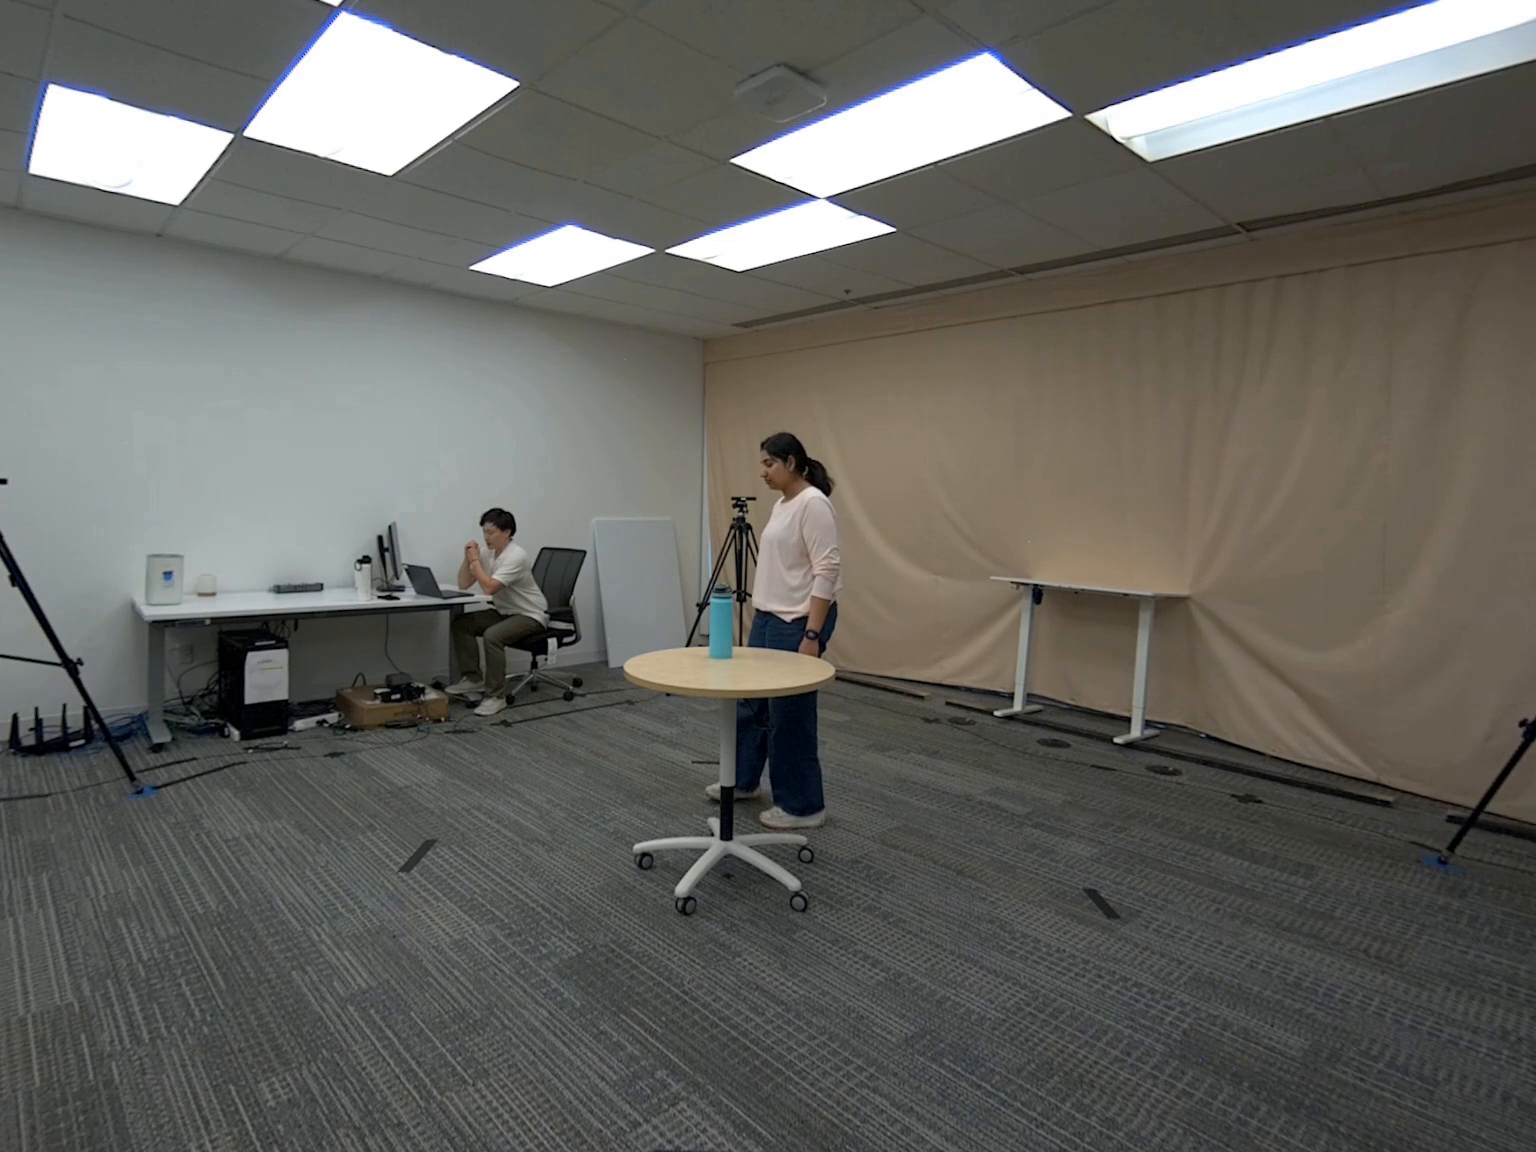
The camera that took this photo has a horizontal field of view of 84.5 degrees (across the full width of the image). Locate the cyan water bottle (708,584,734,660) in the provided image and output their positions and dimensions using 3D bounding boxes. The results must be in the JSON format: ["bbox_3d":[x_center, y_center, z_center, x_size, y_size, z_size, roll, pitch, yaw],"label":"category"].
[{"bbox_3d":[-0.190,0.171,3.223,0.092,0.283,0.092,0,0,-1],"label":"cyan water bottle"}]
